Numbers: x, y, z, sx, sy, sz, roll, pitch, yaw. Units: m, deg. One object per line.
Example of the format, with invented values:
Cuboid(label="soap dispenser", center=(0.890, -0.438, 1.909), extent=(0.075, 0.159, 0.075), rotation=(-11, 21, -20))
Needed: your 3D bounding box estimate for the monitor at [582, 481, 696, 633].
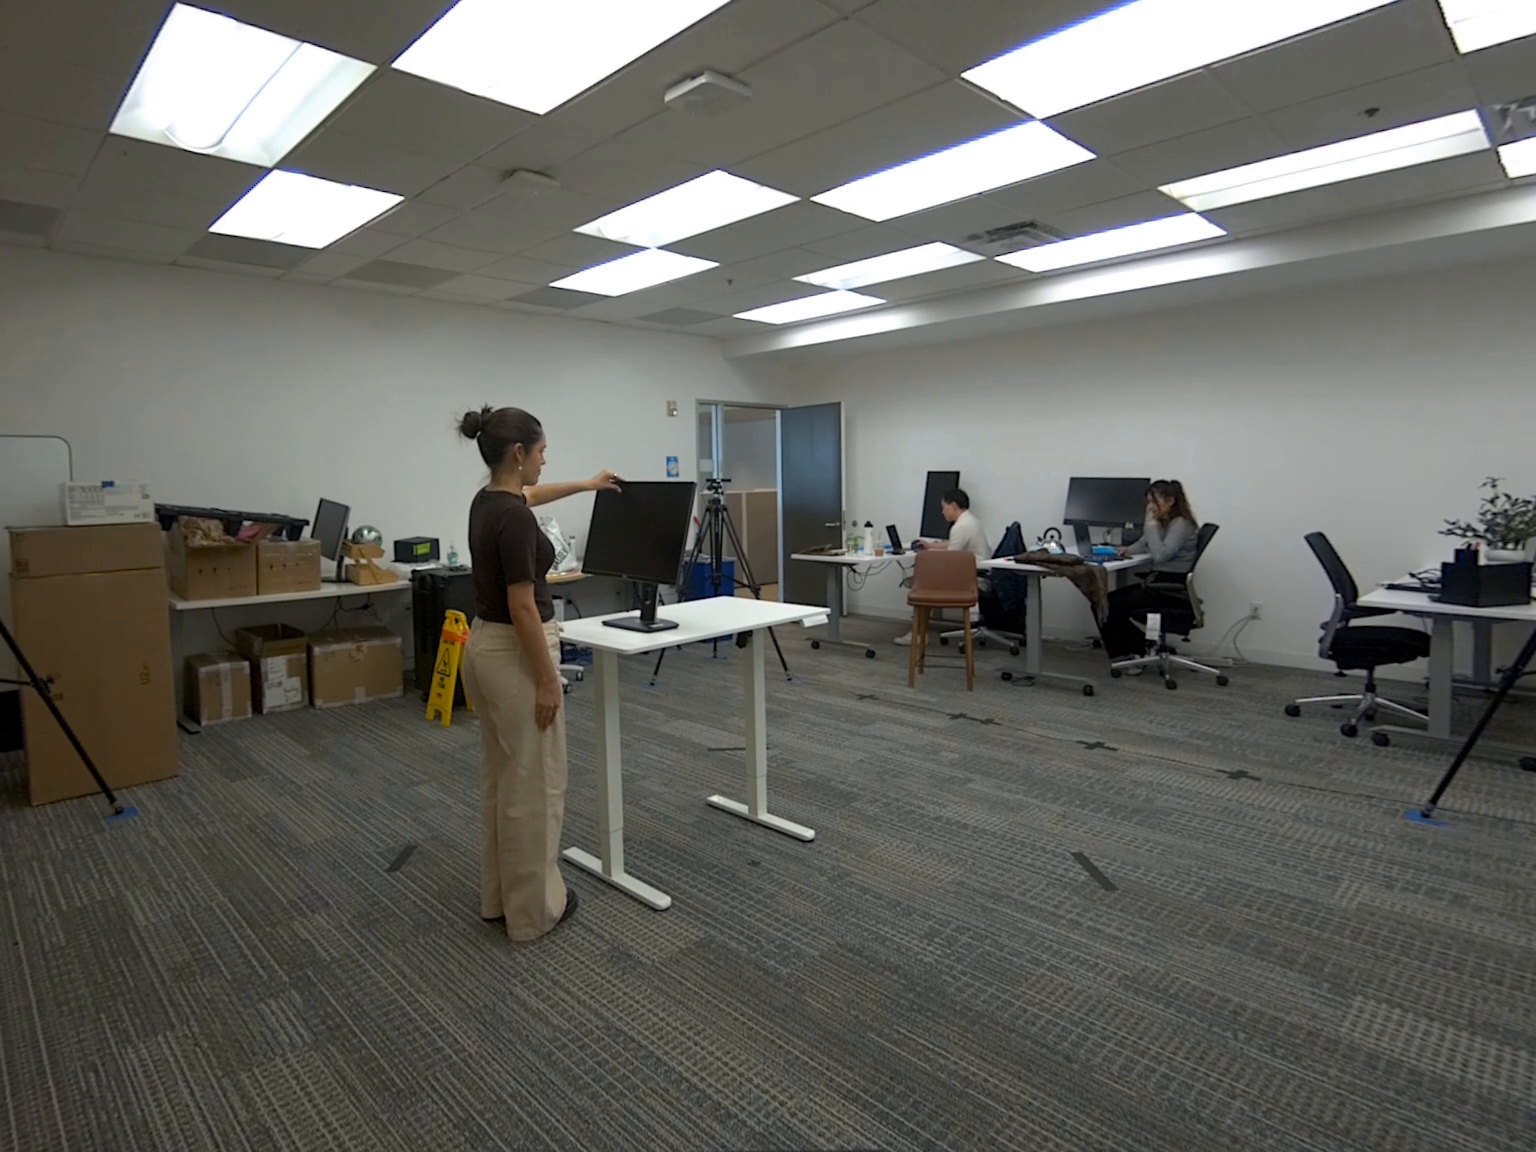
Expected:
Cuboid(label="monitor", center=(-0.447, -0.072, 3.032), extent=(0.556, 0.522, 0.182), rotation=(4, 3, 42))
